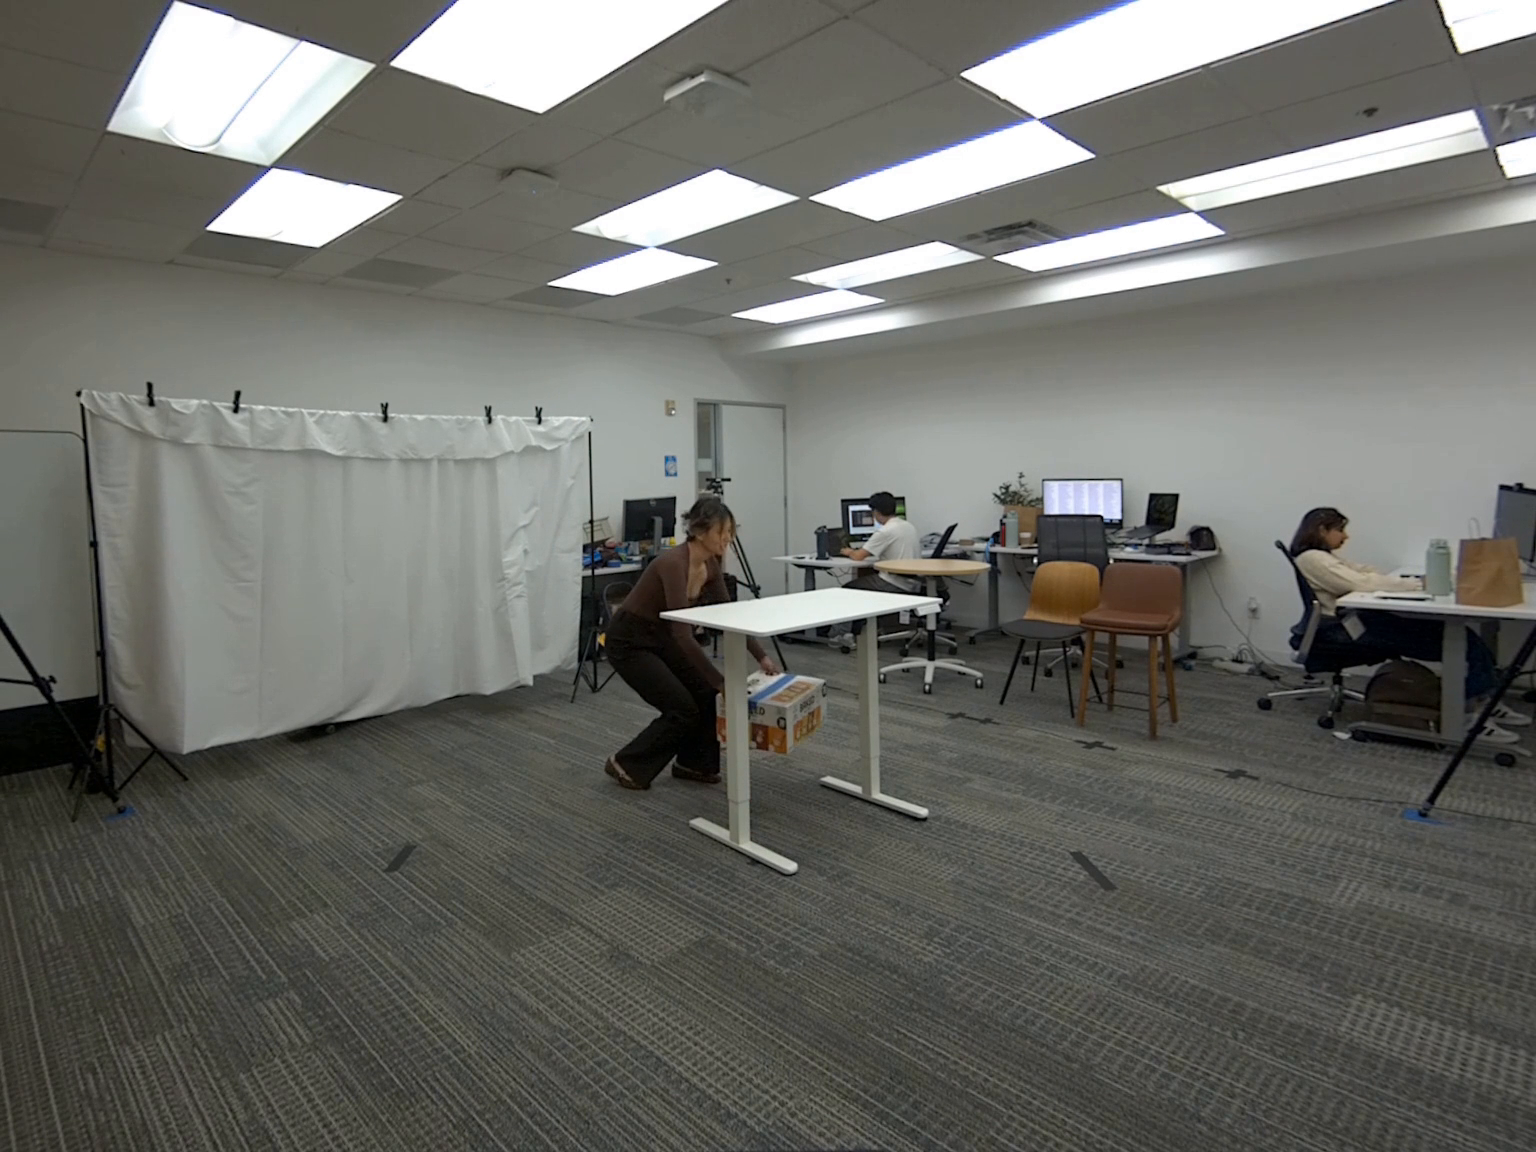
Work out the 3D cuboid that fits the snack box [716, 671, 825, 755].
[{"bbox_3d":[0.018,0.589,3.752,0.349,0.204,0.398,5,12,29],"label":"snack box"}]
